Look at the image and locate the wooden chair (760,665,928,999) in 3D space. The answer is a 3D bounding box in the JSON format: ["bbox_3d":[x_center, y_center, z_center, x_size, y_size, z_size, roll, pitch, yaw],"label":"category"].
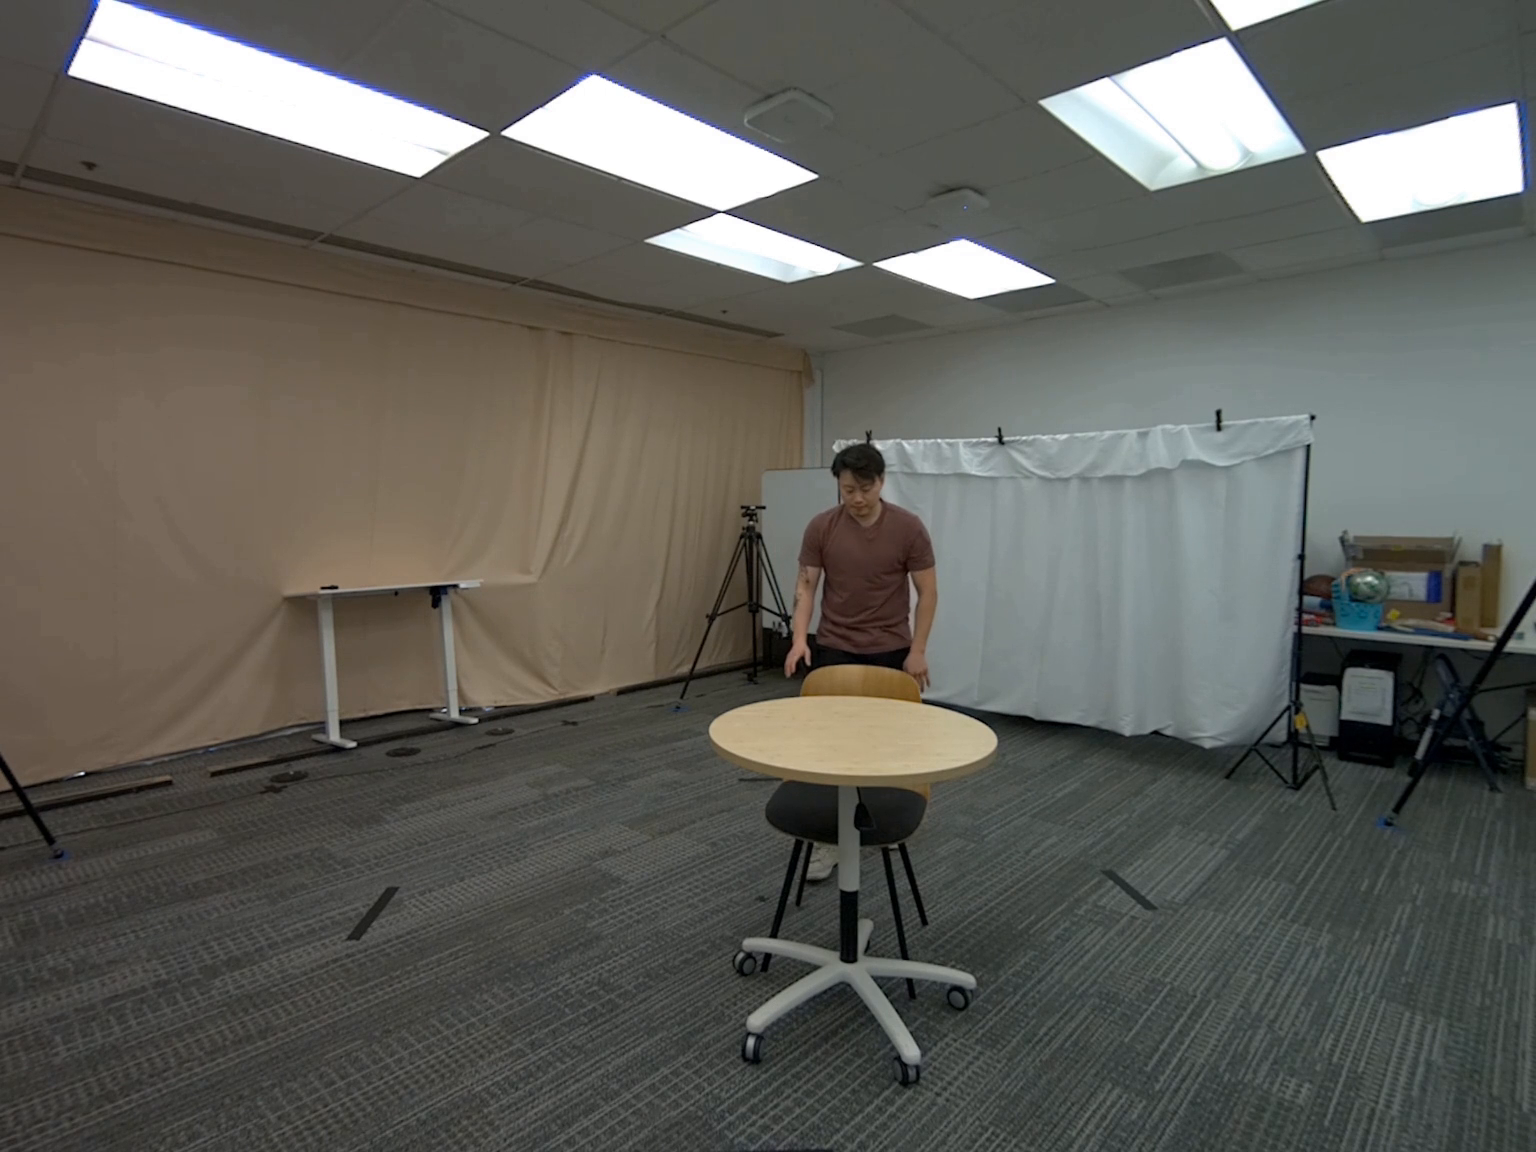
[{"bbox_3d":[0.257,0.744,2.623,0.488,0.878,0.512,2,-1,18],"label":"wooden chair"}]
